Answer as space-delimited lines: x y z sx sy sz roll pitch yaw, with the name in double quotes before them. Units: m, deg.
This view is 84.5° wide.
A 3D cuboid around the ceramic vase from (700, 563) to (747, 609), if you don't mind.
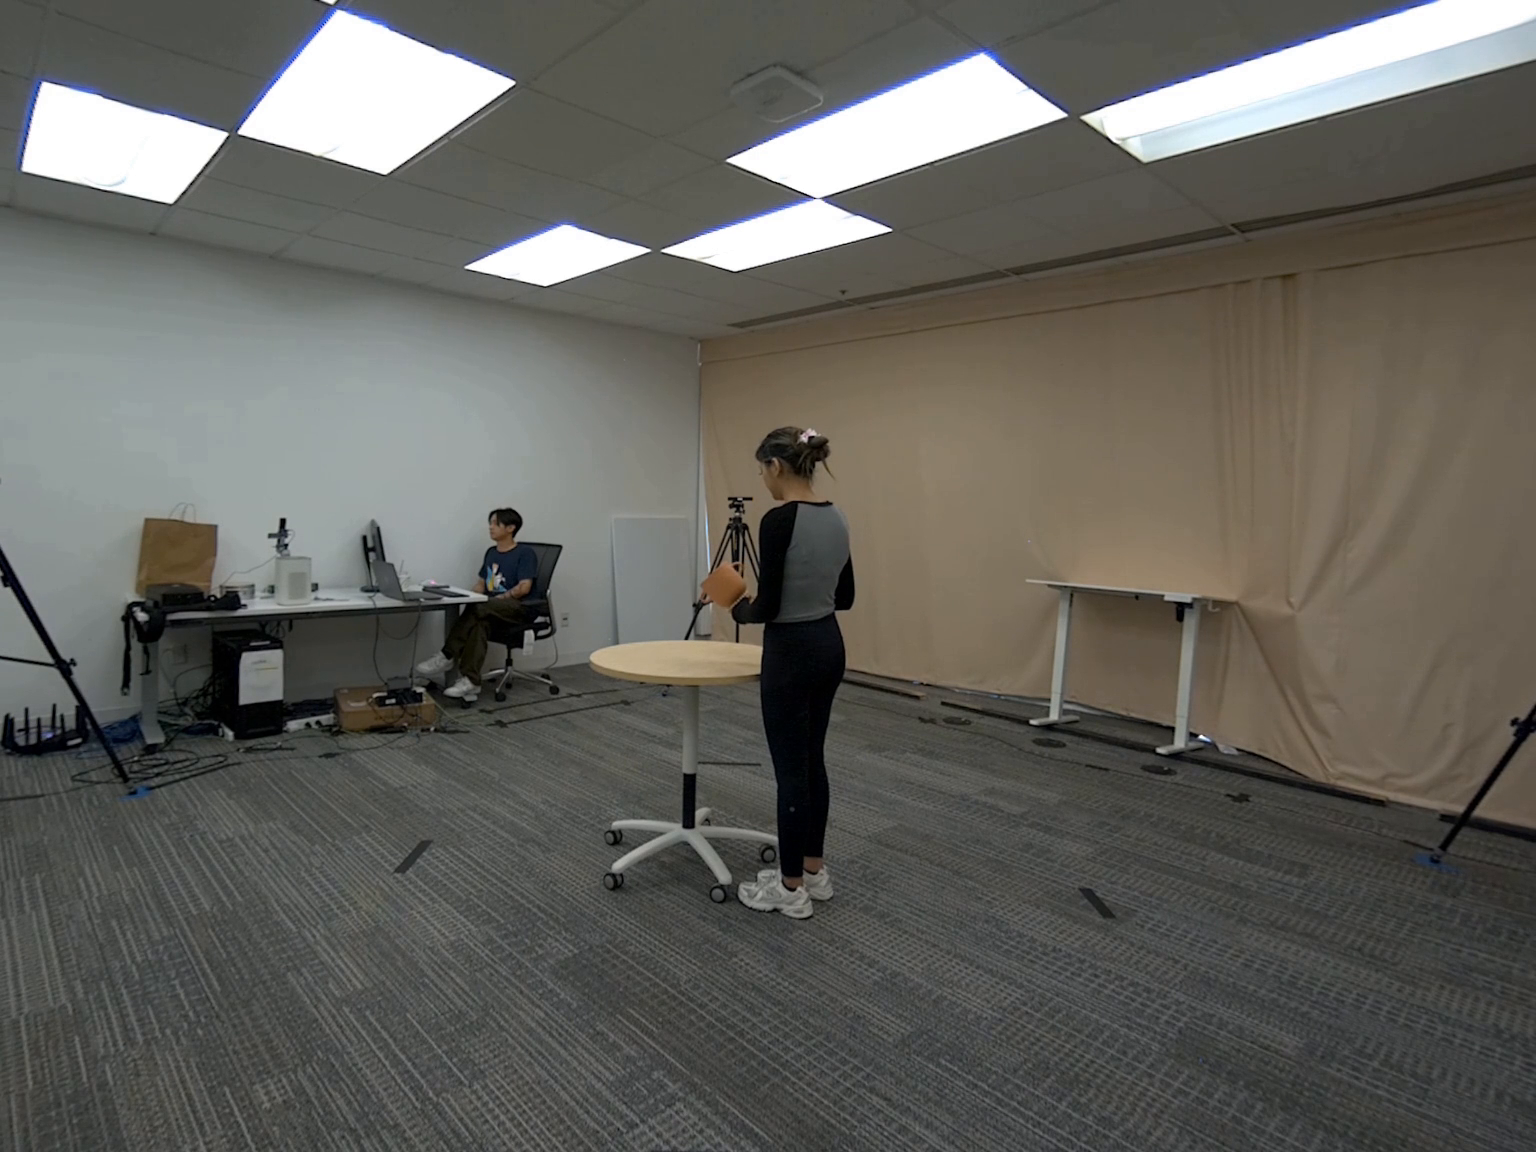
"ceramic vase" -0.131 0.071 3.035 0.159 0.221 0.134 -46 -4 37
